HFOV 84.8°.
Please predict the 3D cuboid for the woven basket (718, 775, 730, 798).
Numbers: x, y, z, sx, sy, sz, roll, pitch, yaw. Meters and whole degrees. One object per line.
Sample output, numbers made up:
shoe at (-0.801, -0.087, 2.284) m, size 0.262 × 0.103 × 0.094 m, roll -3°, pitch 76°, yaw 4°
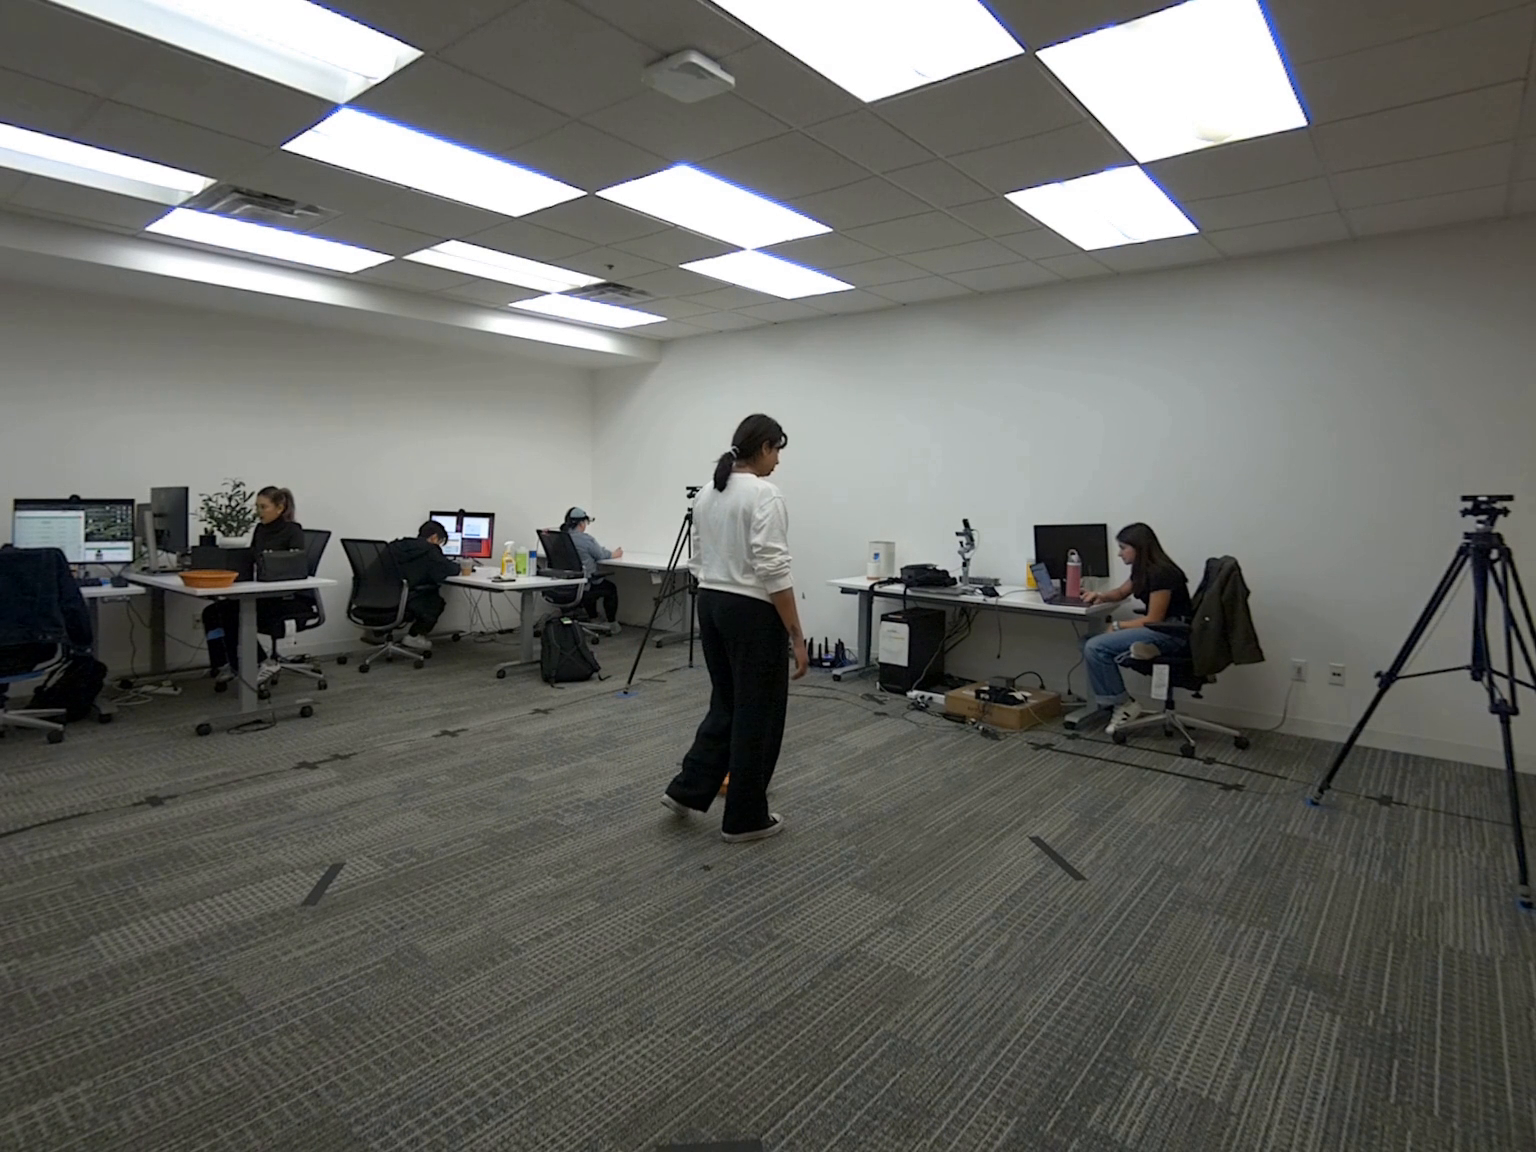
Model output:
woven basket at (-0.159, 0.942, 3.930) m, size 0.362 × 0.073 × 0.245 m, roll 5°, pitch 7°, yaw 36°
